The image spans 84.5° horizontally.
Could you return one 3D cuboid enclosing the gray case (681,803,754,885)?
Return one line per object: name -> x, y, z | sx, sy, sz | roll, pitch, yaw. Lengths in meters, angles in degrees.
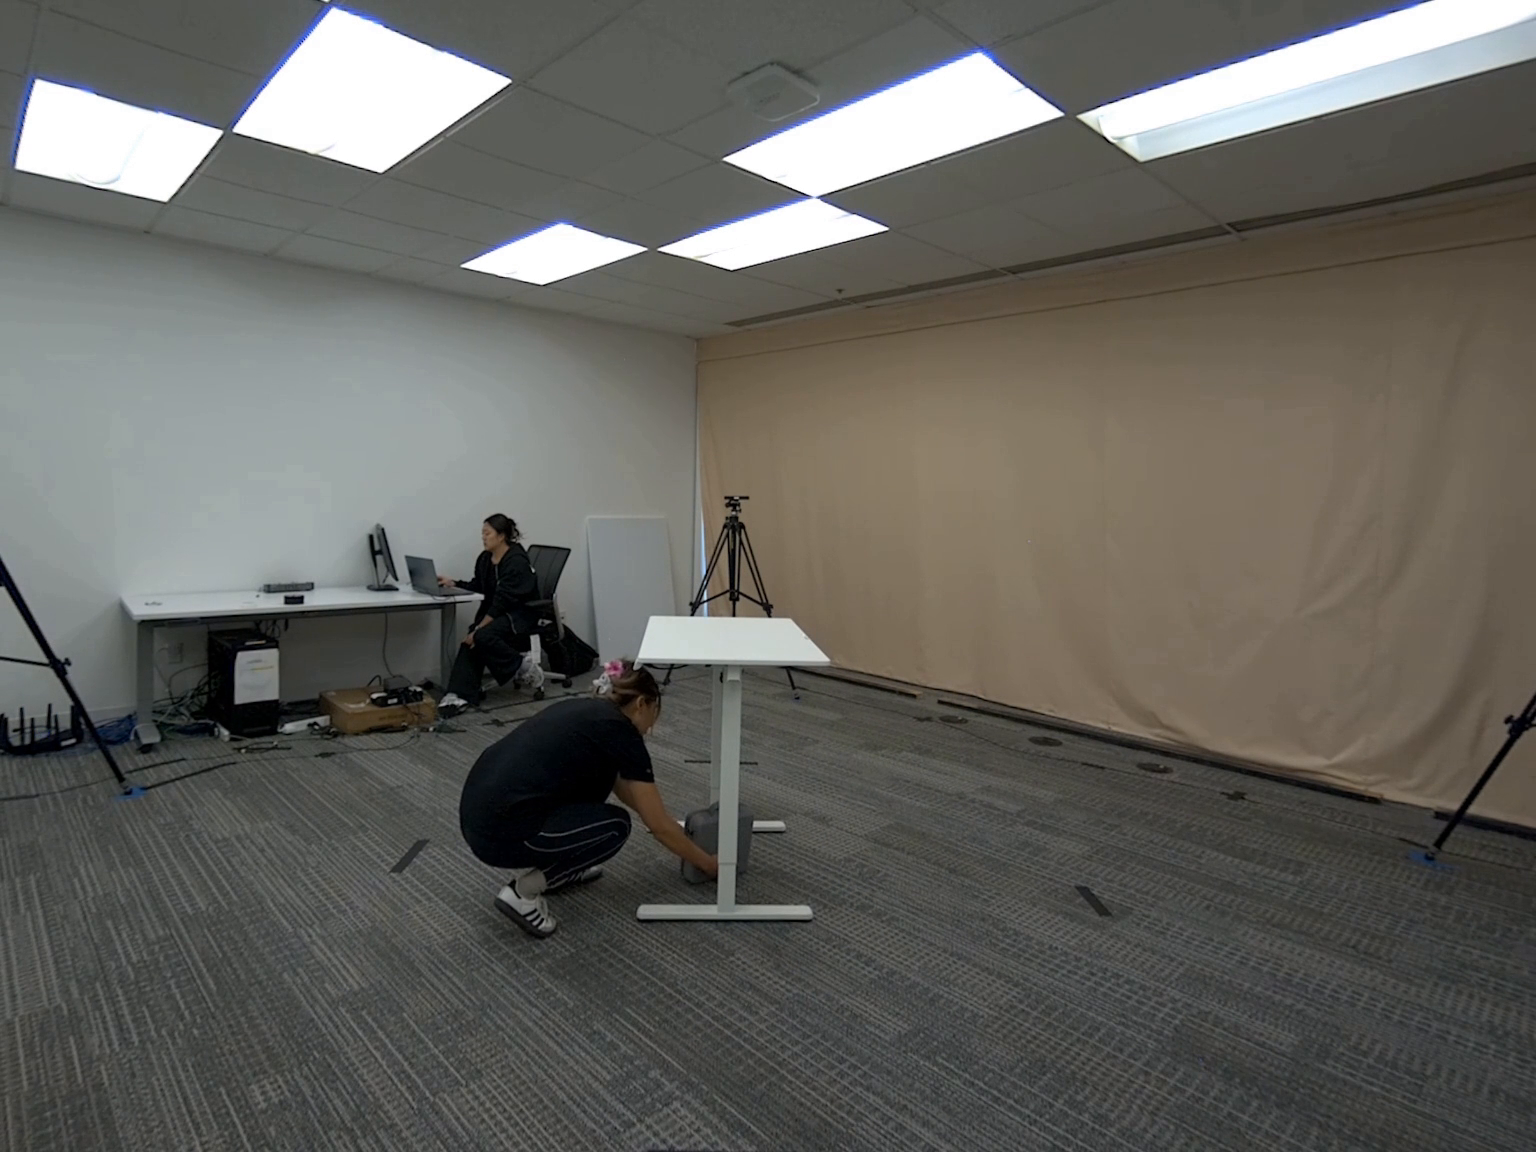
gray case -> -0.185, 0.973, 3.087 | 0.252, 0.258, 0.107 | -1, 14, -30
